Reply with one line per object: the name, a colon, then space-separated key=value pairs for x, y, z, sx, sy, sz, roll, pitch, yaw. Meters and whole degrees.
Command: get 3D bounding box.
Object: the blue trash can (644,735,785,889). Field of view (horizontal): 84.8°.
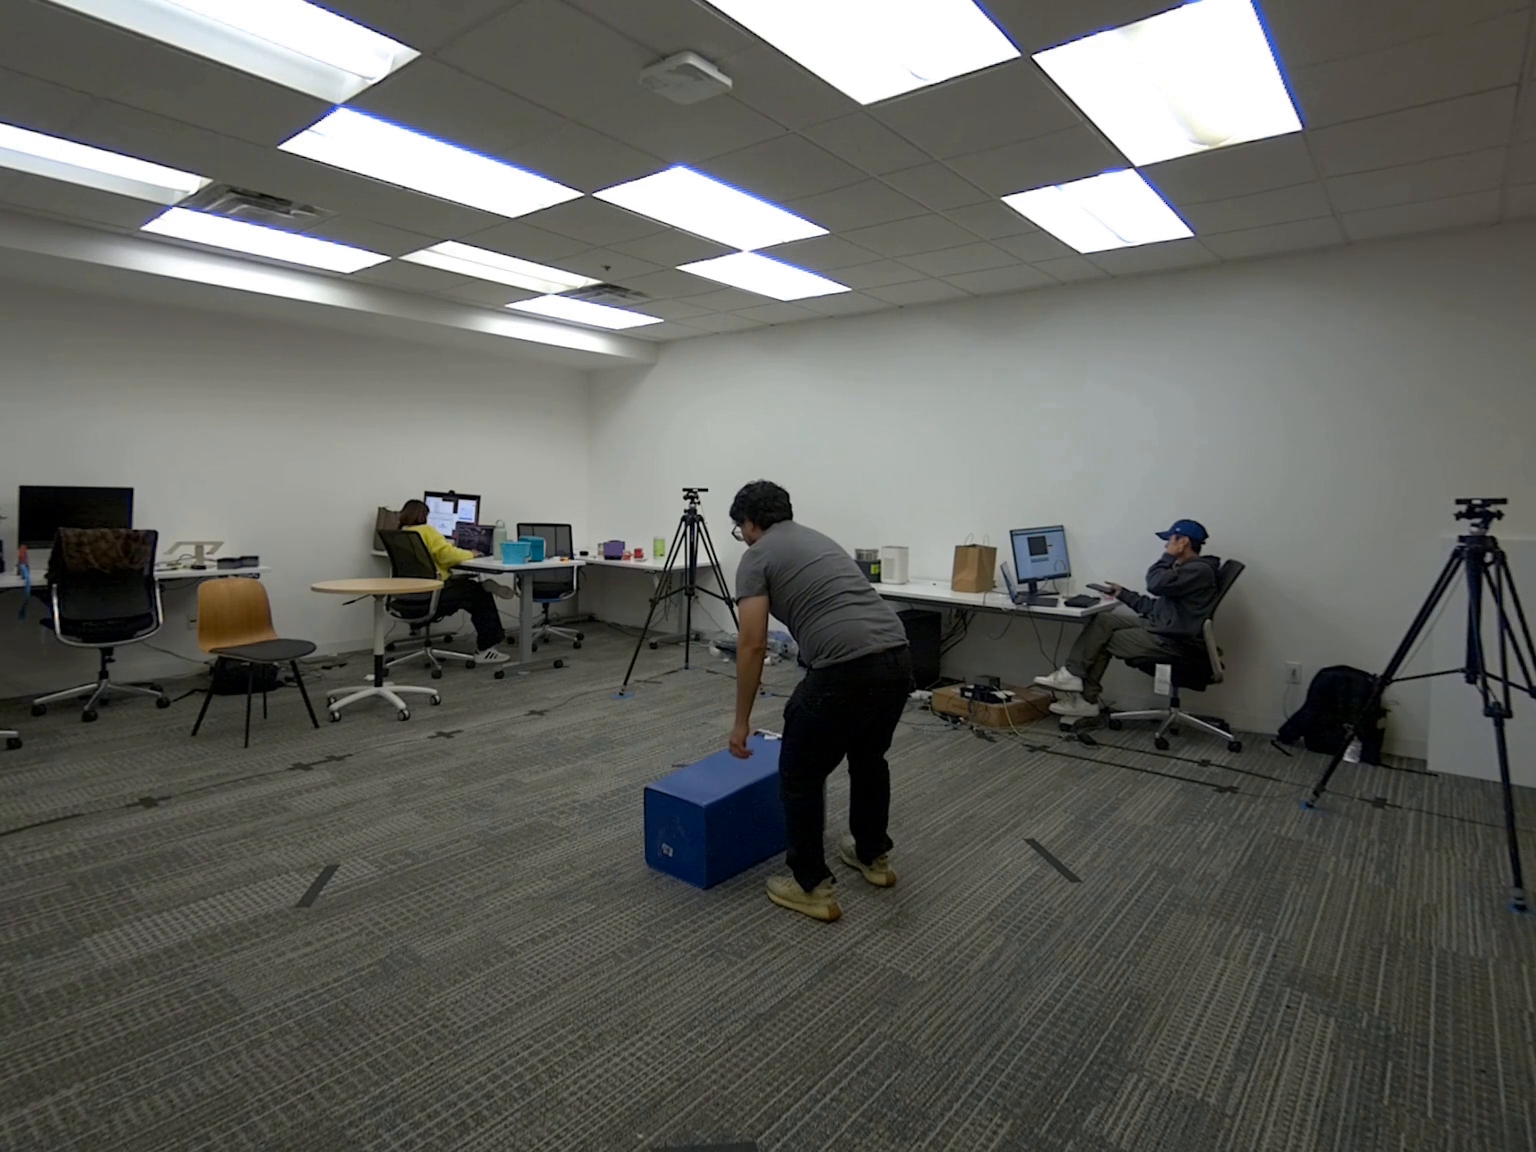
blue trash can: x=-0.141 y=0.882 z=3.297 sx=0.387 sy=0.376 sz=0.693 roll=6 pitch=8 yaw=39
